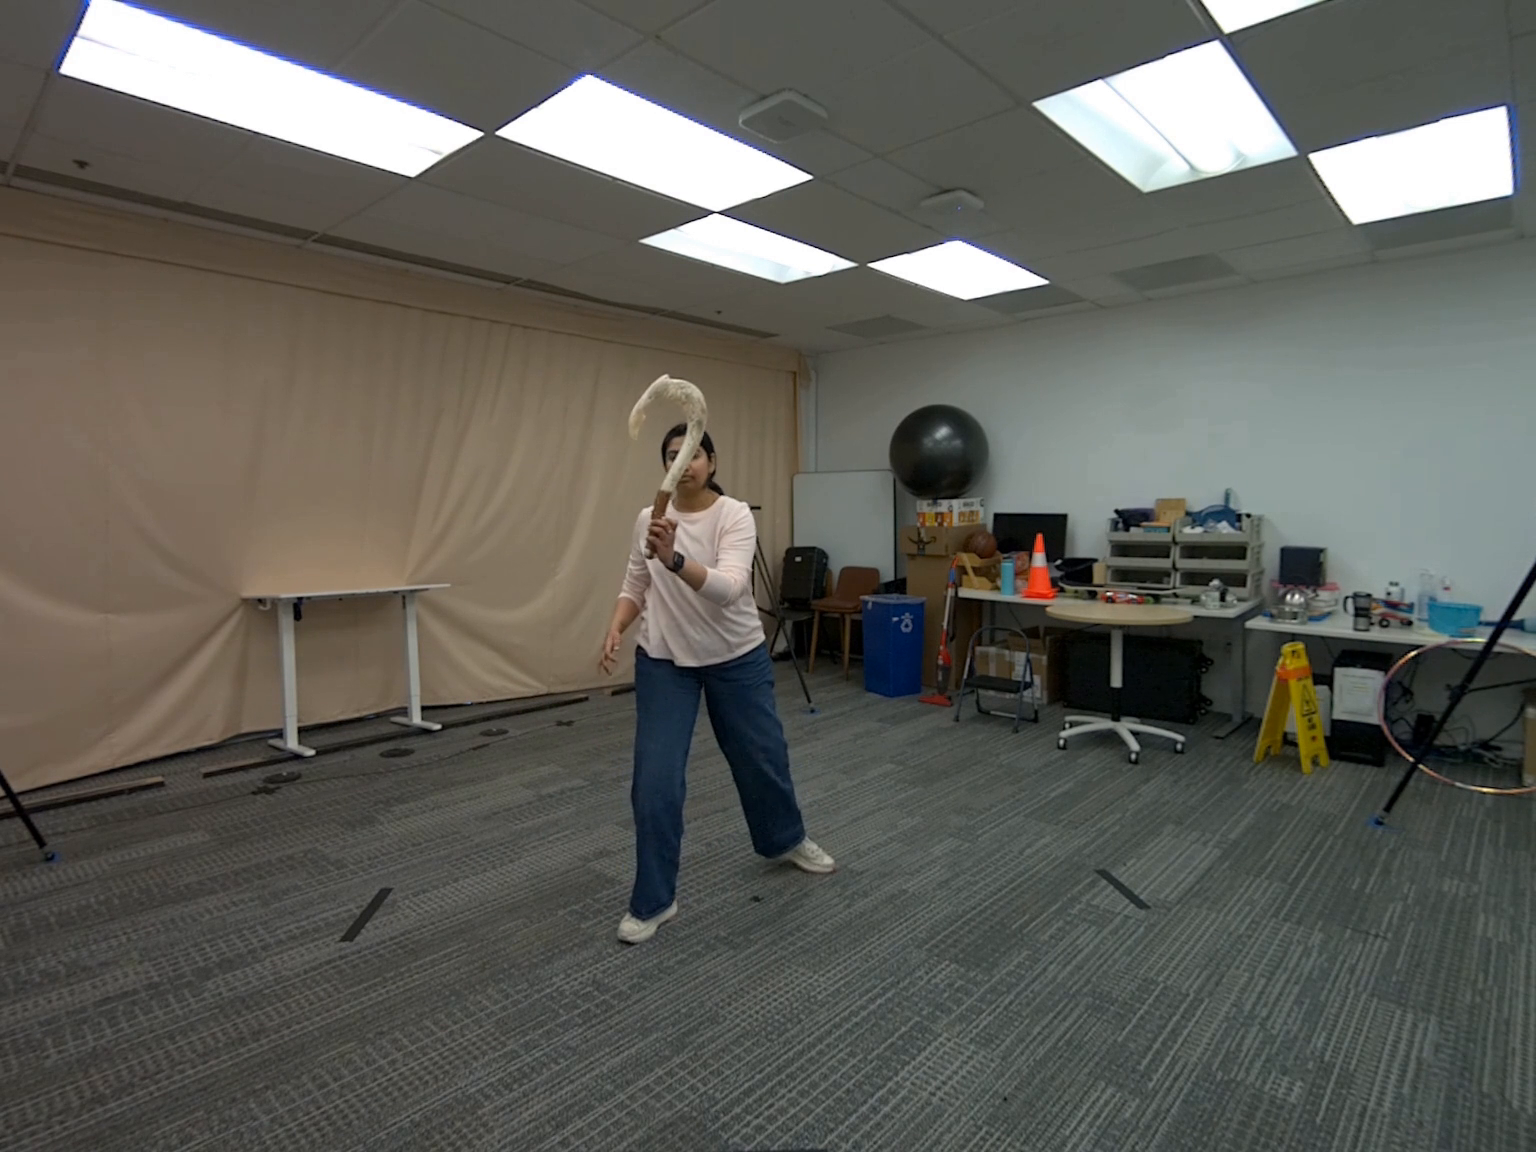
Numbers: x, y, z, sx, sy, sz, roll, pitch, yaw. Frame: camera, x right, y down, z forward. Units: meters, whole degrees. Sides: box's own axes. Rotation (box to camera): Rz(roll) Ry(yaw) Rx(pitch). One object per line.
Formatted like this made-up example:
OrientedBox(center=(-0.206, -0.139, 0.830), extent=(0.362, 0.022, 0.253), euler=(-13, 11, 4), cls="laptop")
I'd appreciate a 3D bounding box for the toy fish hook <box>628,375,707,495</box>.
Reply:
OrientedBox(center=(-0.311, -0.294, 2.348), extent=(0.218, 0.506, 0.050), euler=(11, 4, -26), cls="toy fish hook")
